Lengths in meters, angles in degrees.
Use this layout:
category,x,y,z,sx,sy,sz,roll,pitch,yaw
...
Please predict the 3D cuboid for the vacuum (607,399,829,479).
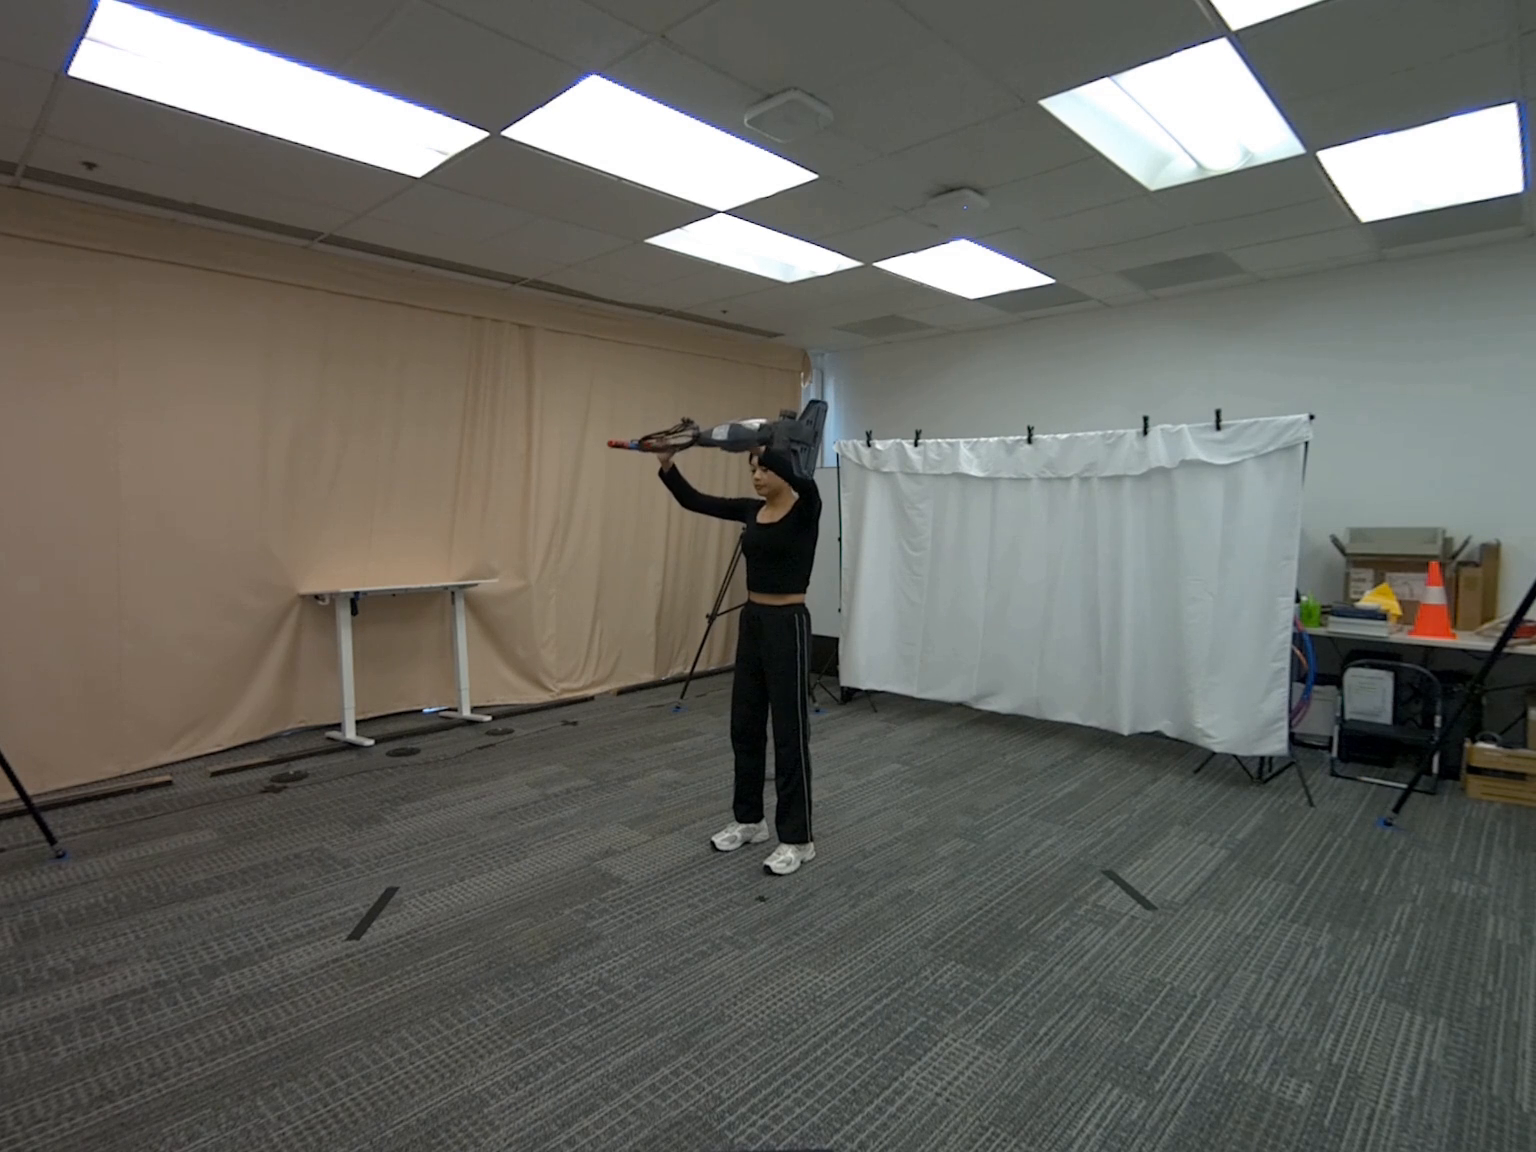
category,x,y,z,sx,sy,sz,roll,pitch,yaw
vacuum,-0.260,-0.482,3.016,0.139,0.253,1.085,19,-8,-43
